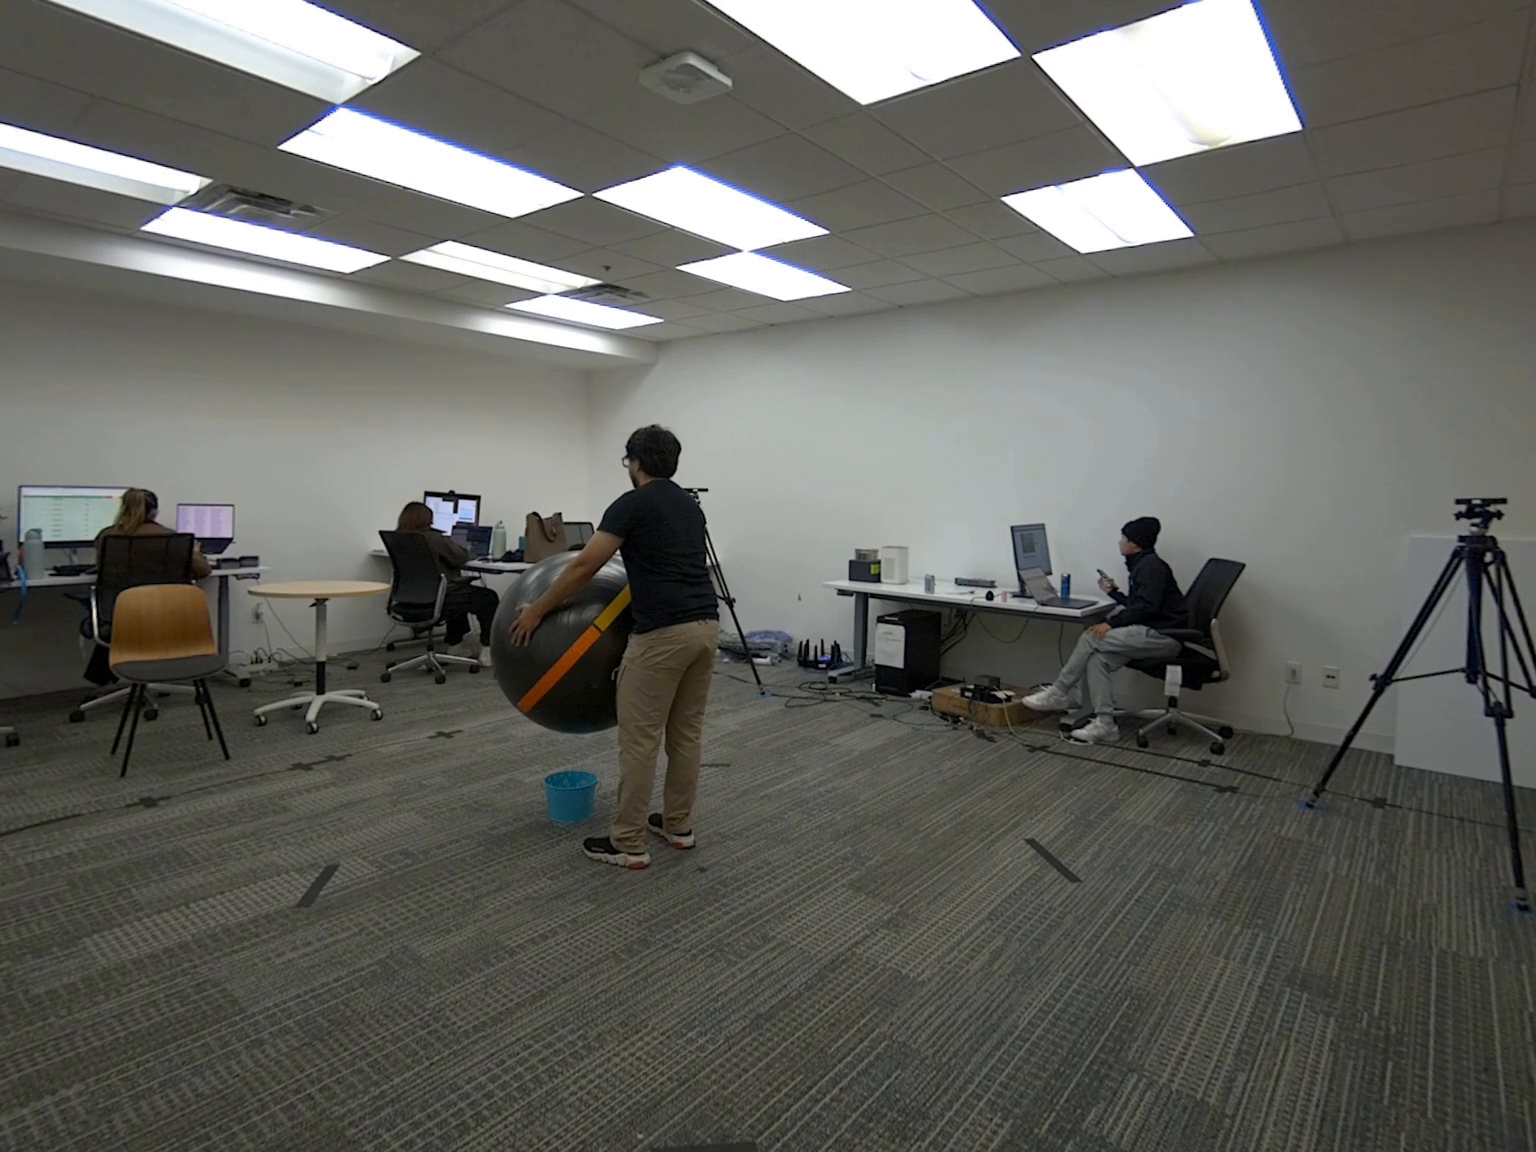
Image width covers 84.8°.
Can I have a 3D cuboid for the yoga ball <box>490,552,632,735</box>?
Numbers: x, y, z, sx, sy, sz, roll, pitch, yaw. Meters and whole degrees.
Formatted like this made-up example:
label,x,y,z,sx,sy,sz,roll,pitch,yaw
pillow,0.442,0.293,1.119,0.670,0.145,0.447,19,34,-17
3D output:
label,x,y,z,sx,sy,sz,roll,pitch,yaw
yoga ball,-0.798,0.278,3.581,0.757,0.756,0.762,1,4,-2
